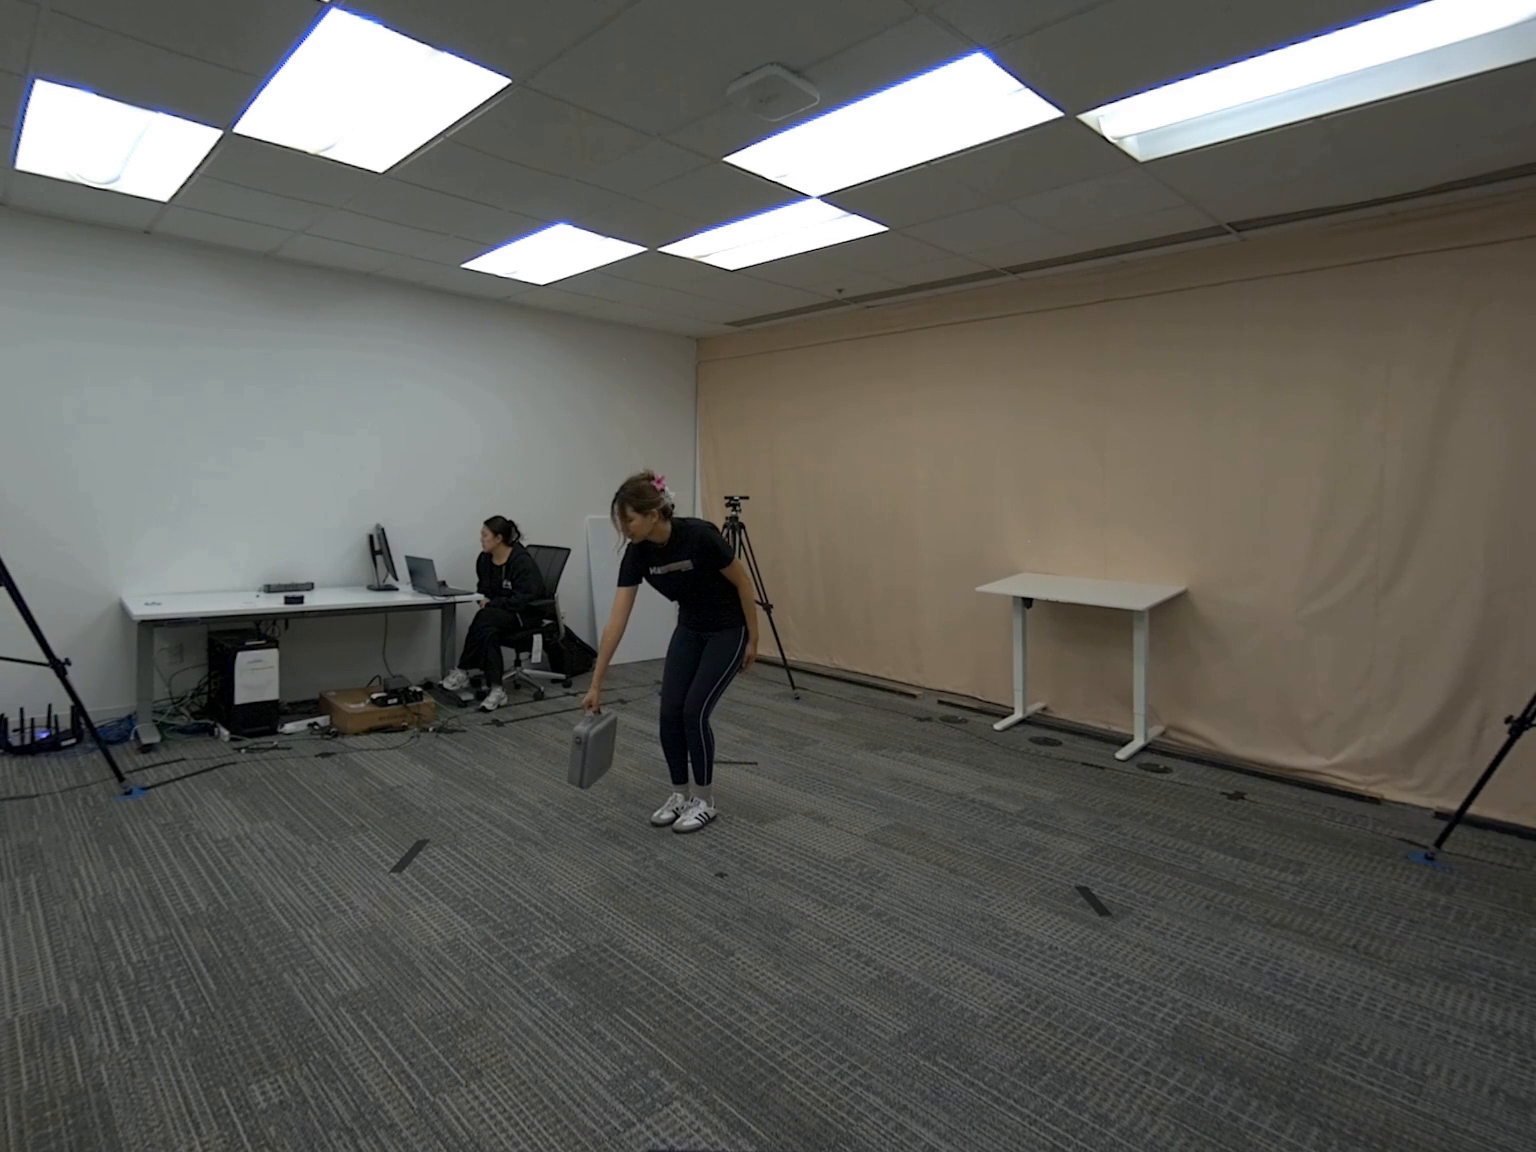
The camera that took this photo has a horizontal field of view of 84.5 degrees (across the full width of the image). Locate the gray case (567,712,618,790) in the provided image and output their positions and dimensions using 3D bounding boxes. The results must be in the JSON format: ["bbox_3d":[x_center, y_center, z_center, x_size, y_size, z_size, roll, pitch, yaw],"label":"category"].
[{"bbox_3d":[-0.724,0.700,3.442,0.106,0.259,0.255,8,7,13],"label":"gray case"}]
